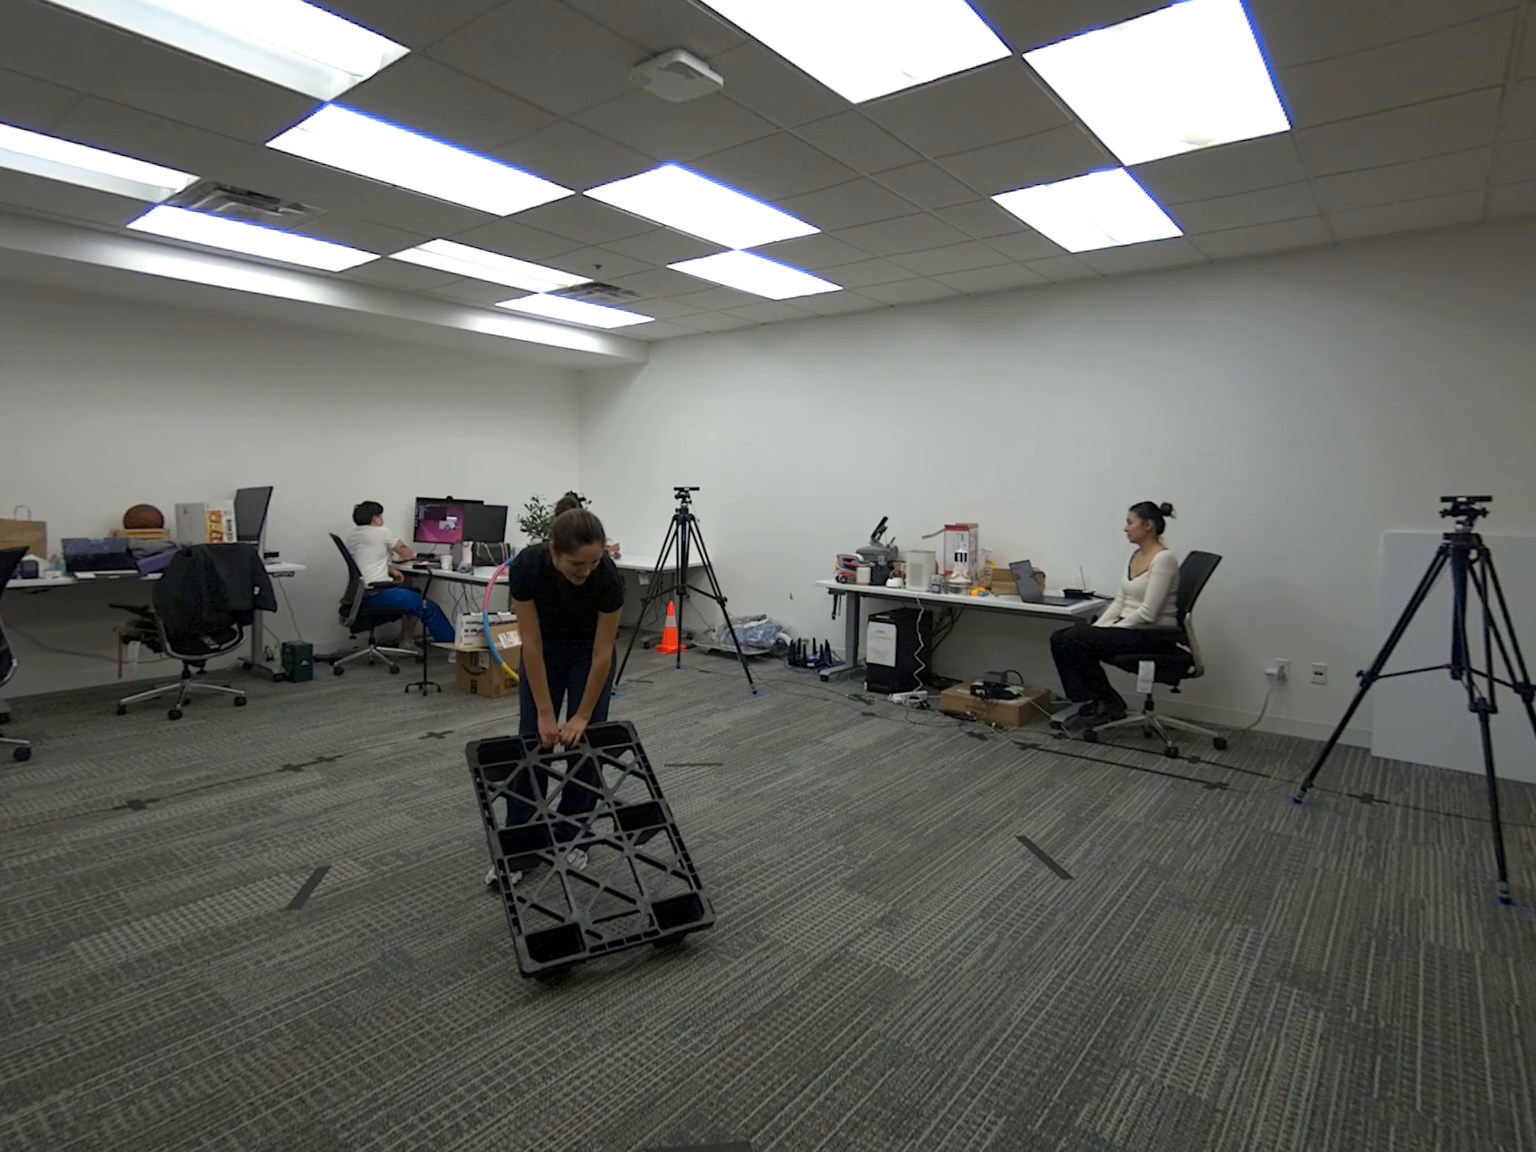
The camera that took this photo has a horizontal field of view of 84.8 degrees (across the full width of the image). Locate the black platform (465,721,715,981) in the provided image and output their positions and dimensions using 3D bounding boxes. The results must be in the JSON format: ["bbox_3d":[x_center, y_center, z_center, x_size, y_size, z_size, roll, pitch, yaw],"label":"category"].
[{"bbox_3d":[-0.586,0.833,2.736,0.589,0.141,0.839,-2,40,-30],"label":"black platform"}]
